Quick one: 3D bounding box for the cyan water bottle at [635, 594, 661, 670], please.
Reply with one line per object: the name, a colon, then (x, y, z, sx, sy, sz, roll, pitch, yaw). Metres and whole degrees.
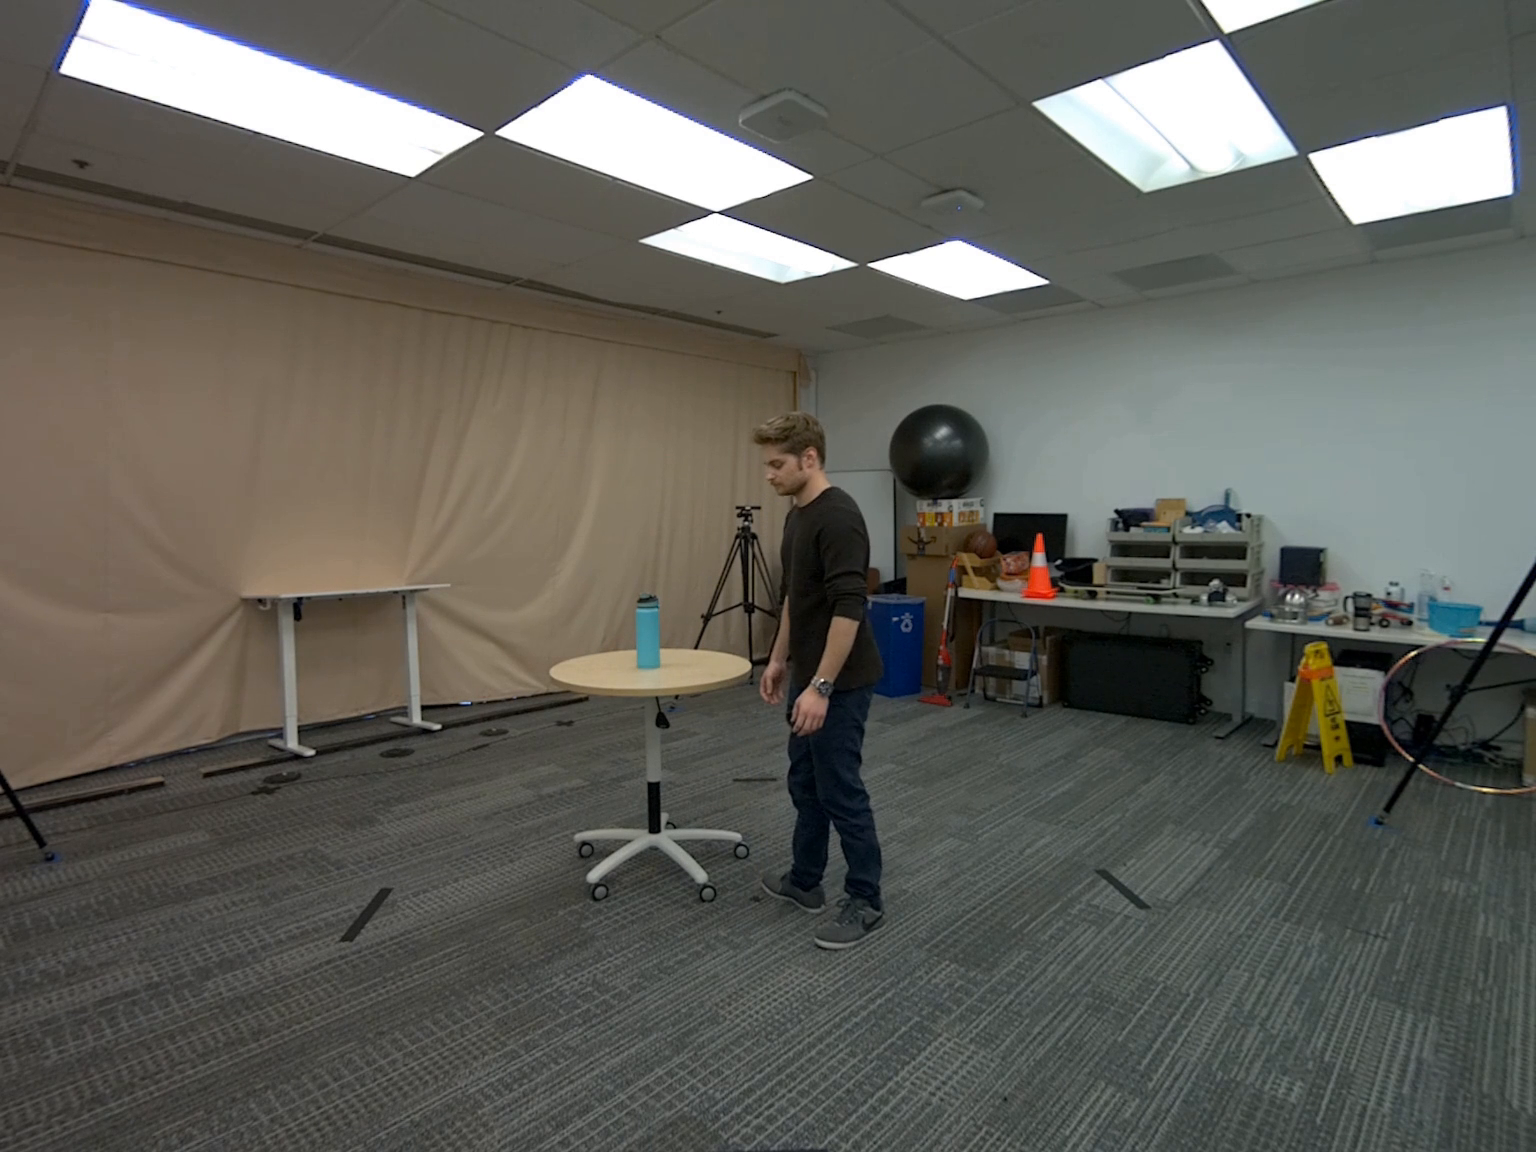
cyan water bottle: (-0.462, 0.209, 3.207, 0.092, 0.283, 0.092, 0, 2, -2)
